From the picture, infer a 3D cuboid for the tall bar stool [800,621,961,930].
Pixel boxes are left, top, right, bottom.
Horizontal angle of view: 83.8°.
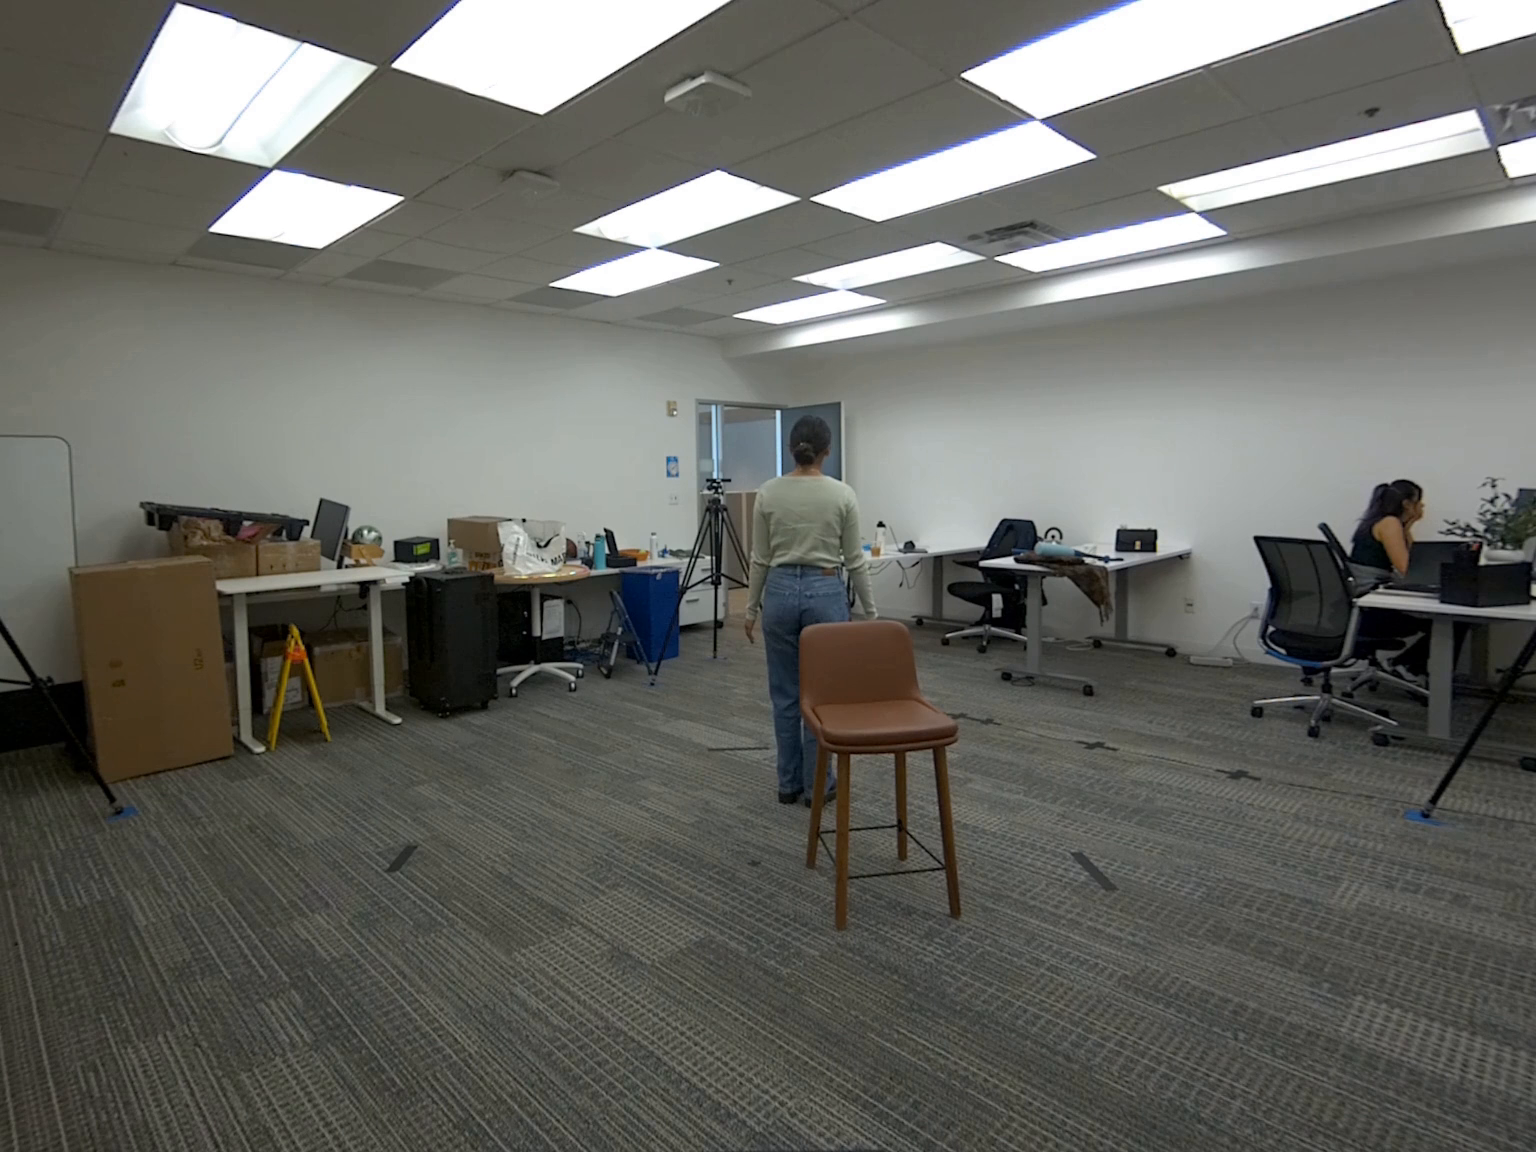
[{"bbox_3d":[0.359,0.631,2.869,0.452,0.888,0.473,-1,2,-11],"label":"tall bar stool"}]
